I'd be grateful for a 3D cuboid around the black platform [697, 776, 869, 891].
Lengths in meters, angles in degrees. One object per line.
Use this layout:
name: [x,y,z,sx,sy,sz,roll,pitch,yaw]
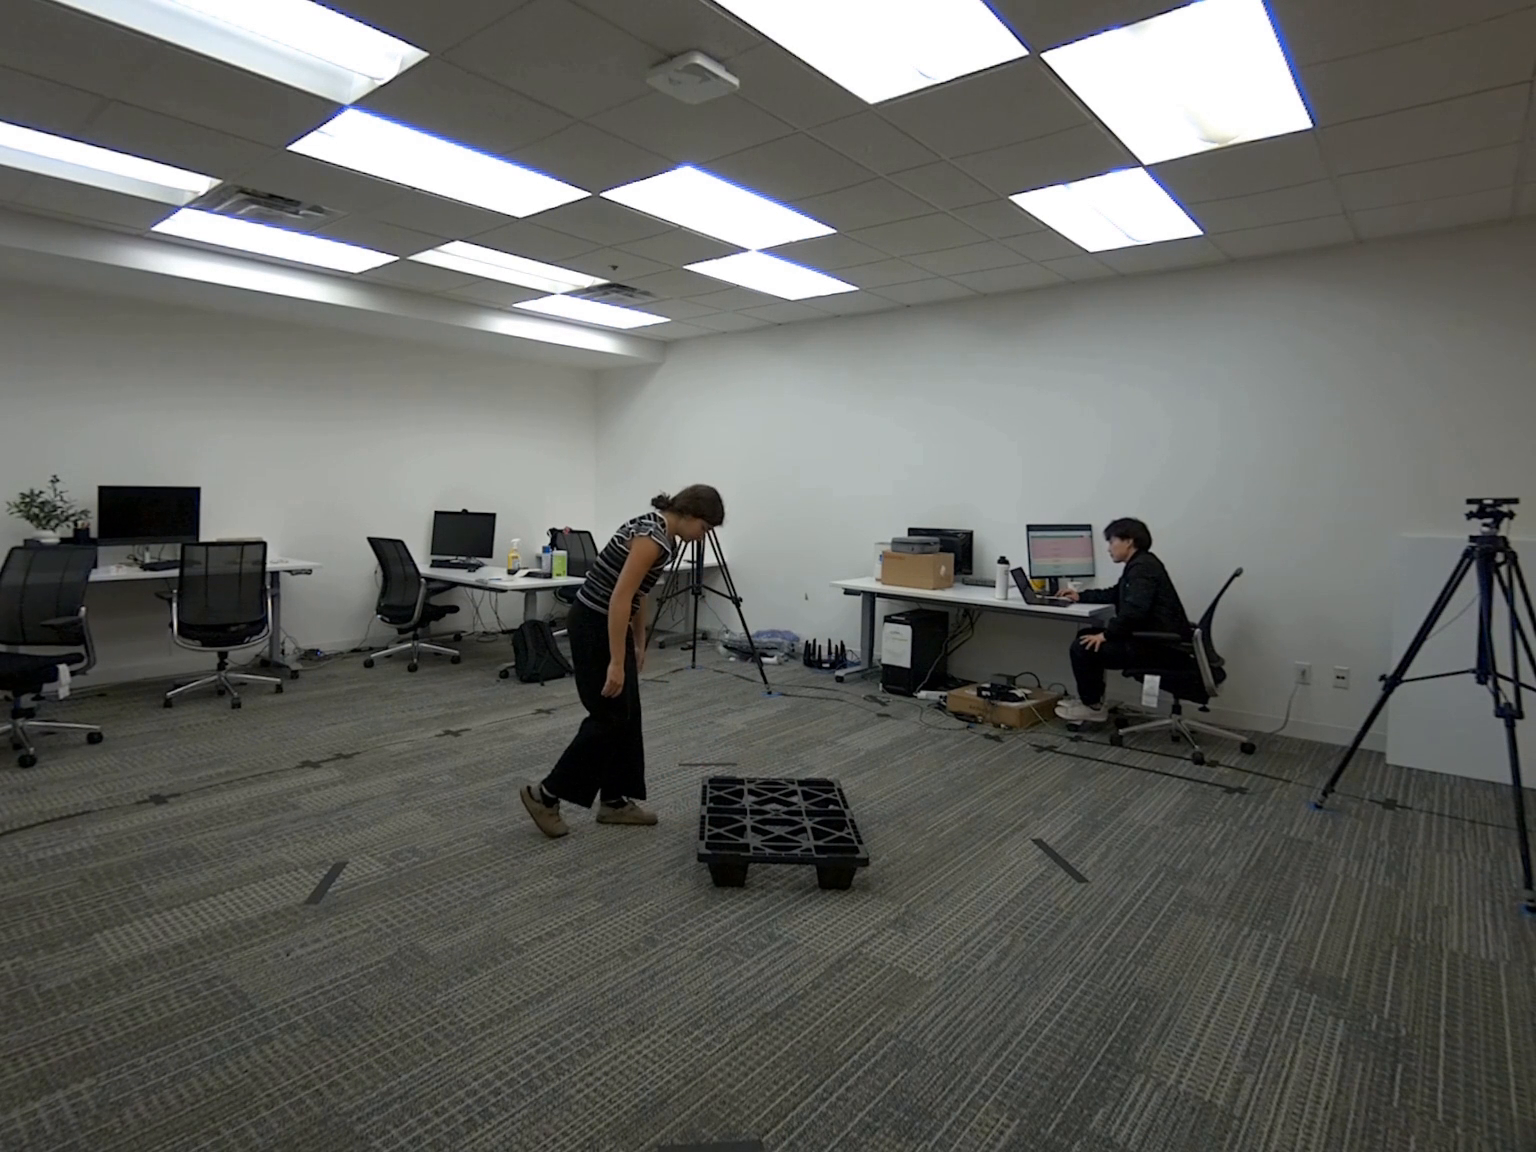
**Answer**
black platform: [0.021,0.982,3.322,0.605,0.143,0.809,1,5,-2]
